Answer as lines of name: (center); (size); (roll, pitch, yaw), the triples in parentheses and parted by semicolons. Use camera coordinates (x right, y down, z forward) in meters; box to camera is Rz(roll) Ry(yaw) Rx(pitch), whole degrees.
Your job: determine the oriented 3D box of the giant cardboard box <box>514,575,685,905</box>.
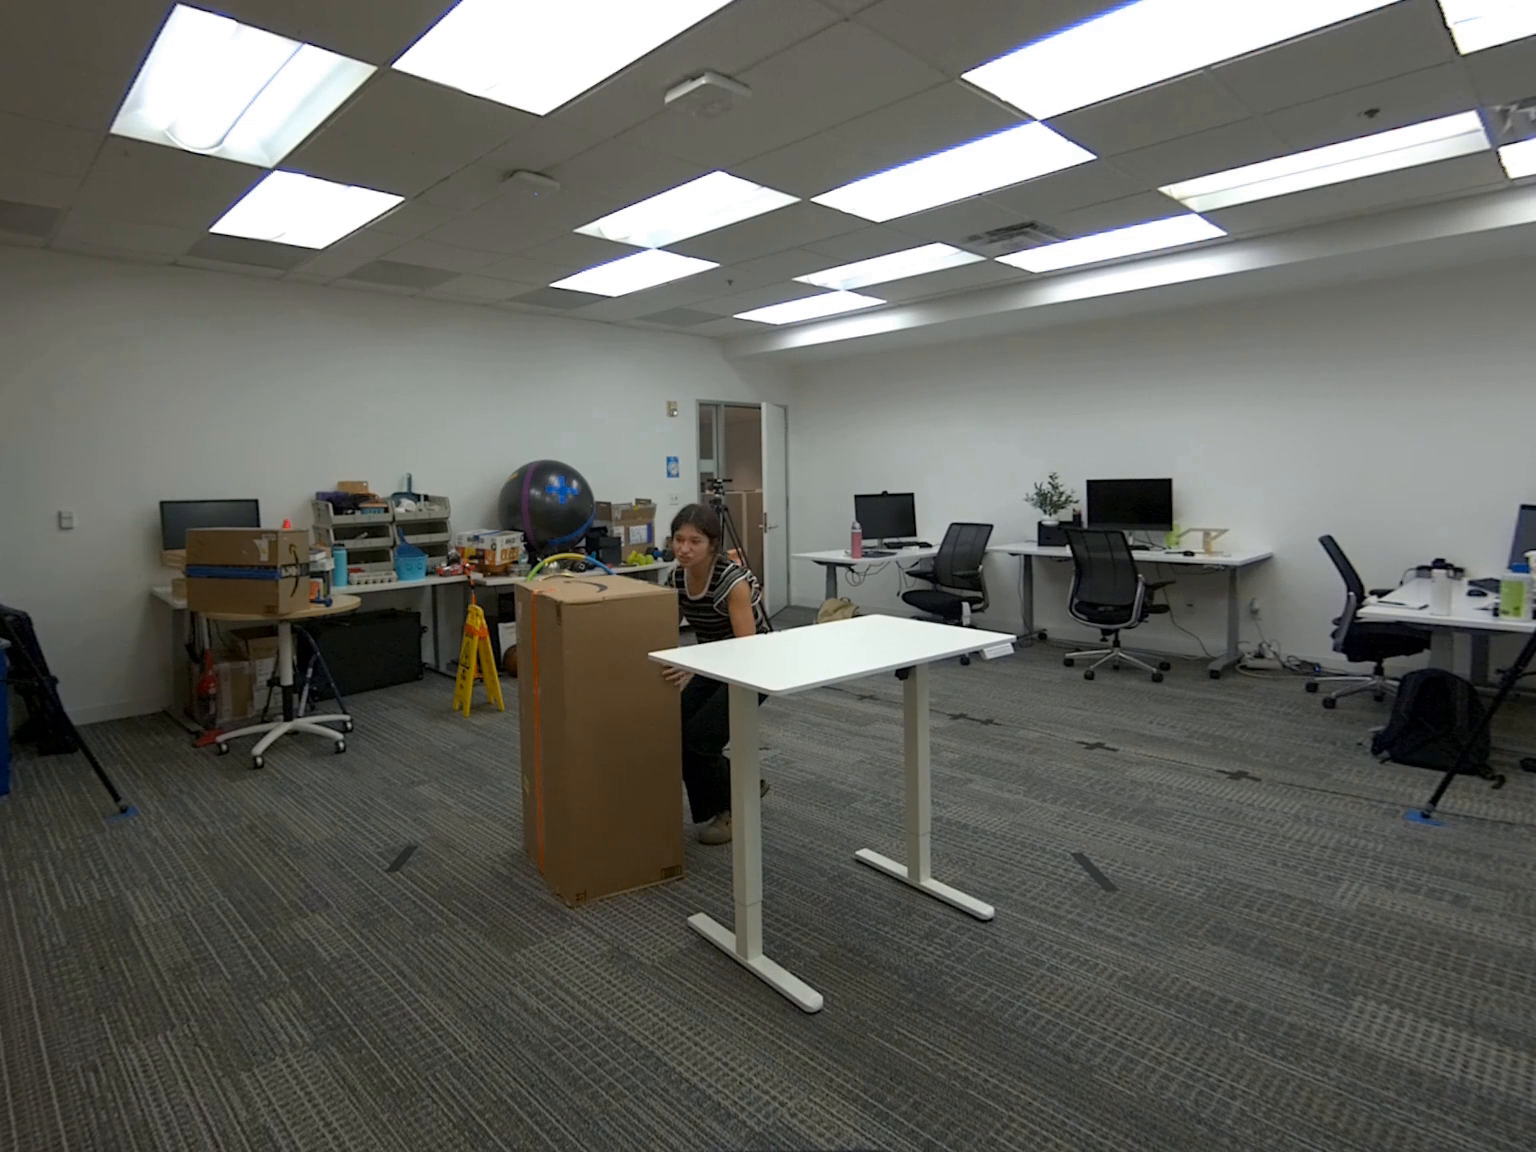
giant cardboard box: (-0.628, 0.543, 3.108); (0.416, 1.022, 0.593); (-4, 5, -30)
